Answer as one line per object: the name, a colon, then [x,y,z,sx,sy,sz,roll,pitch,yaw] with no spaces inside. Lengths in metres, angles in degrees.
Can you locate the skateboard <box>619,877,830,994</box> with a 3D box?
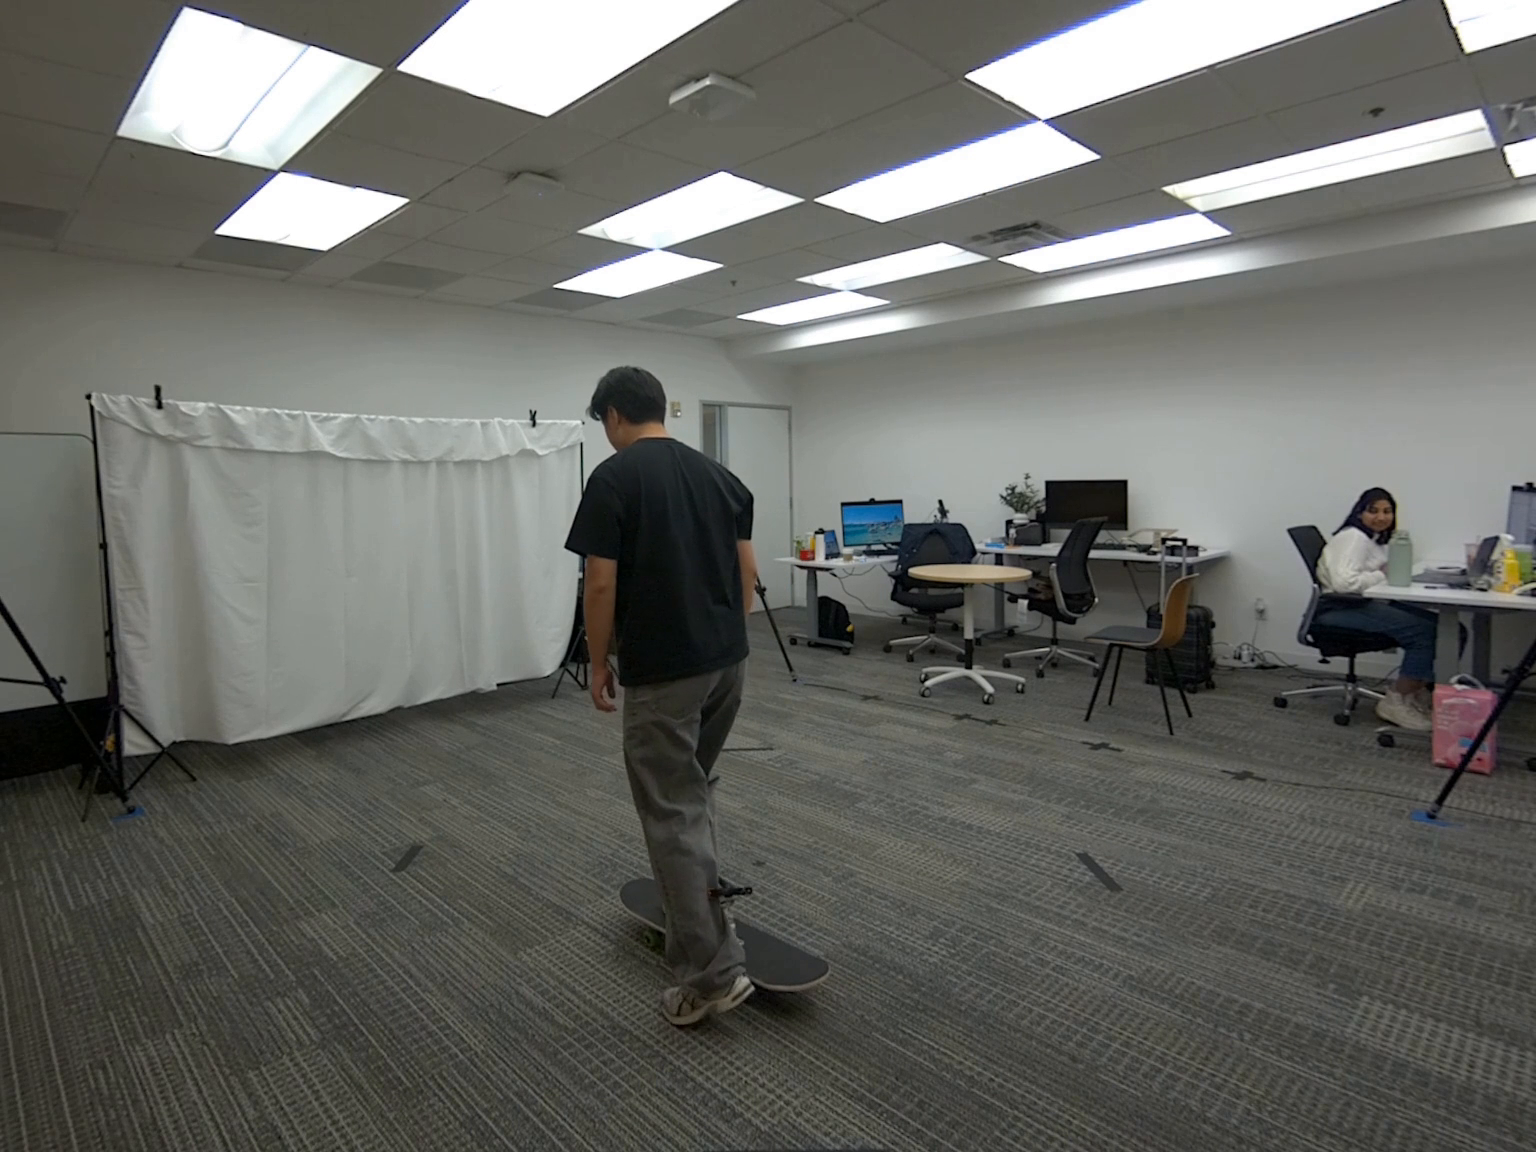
skateboard: [-0.146,1.070,2.484,0.810,0.110,0.188,5,8,43]
